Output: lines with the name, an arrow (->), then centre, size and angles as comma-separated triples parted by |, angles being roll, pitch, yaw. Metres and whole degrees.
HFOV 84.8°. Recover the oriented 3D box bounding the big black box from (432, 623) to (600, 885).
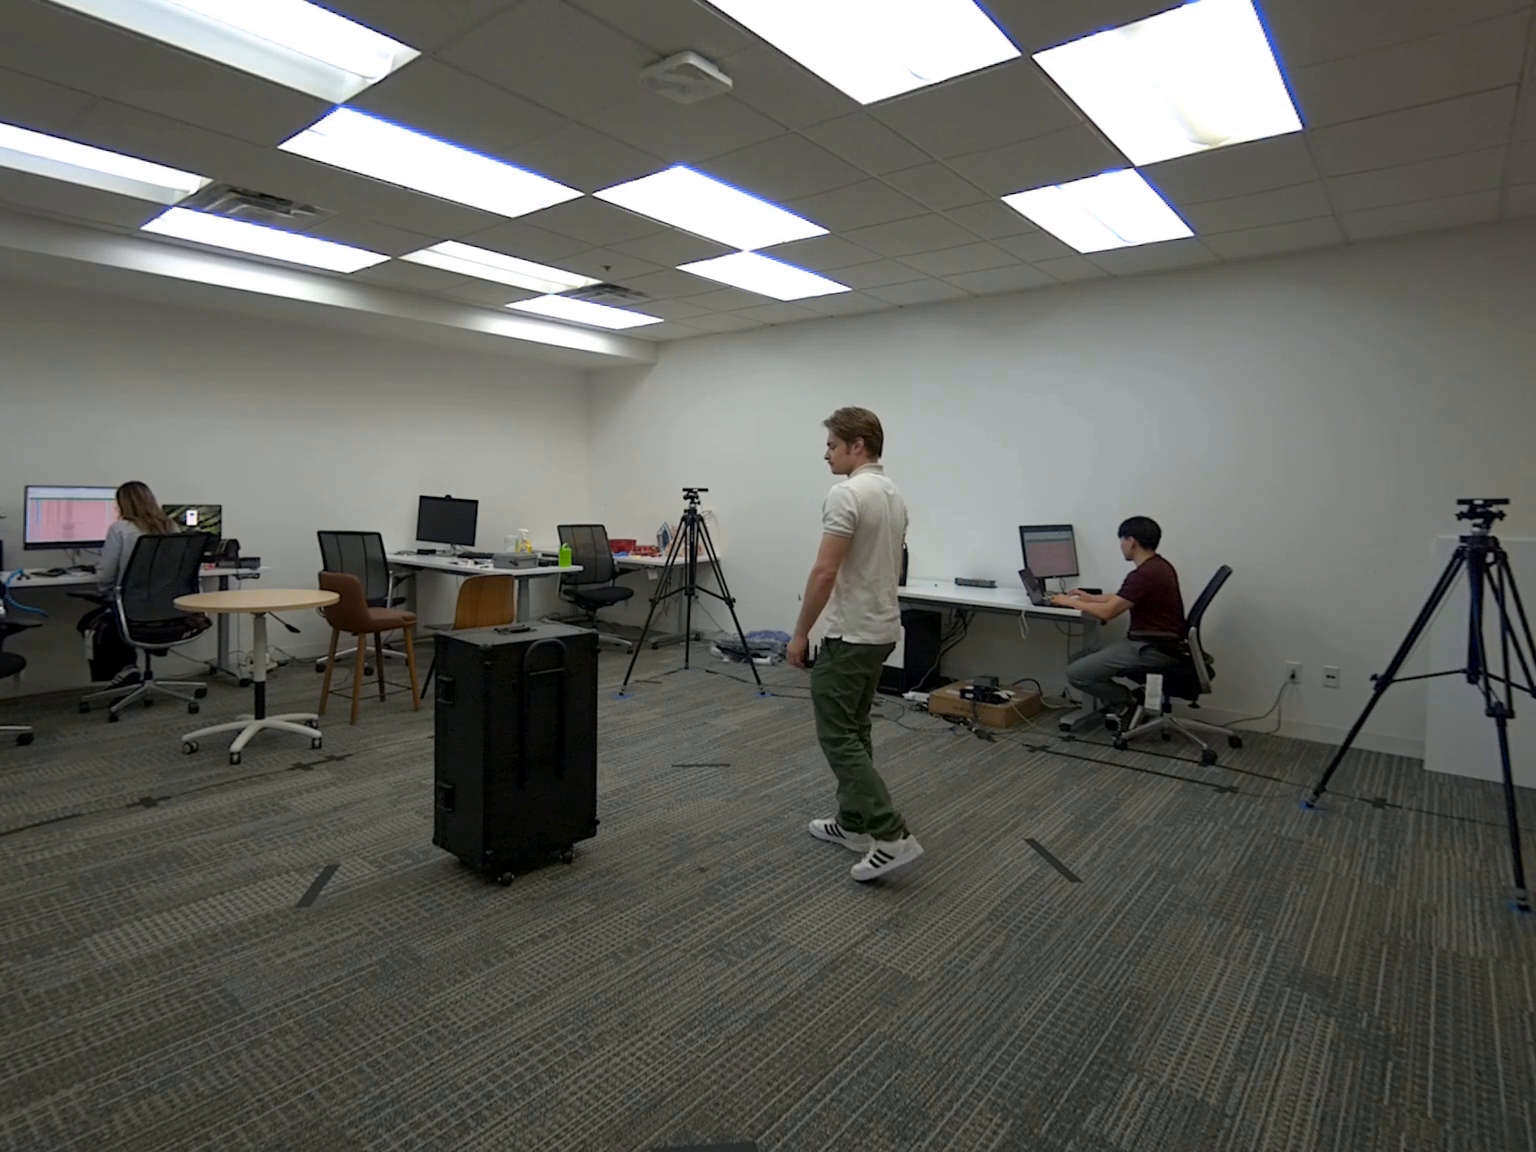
big black box -> -0.939, 0.633, 3.157 | 0.398, 0.866, 0.507 | 4, 4, 42
